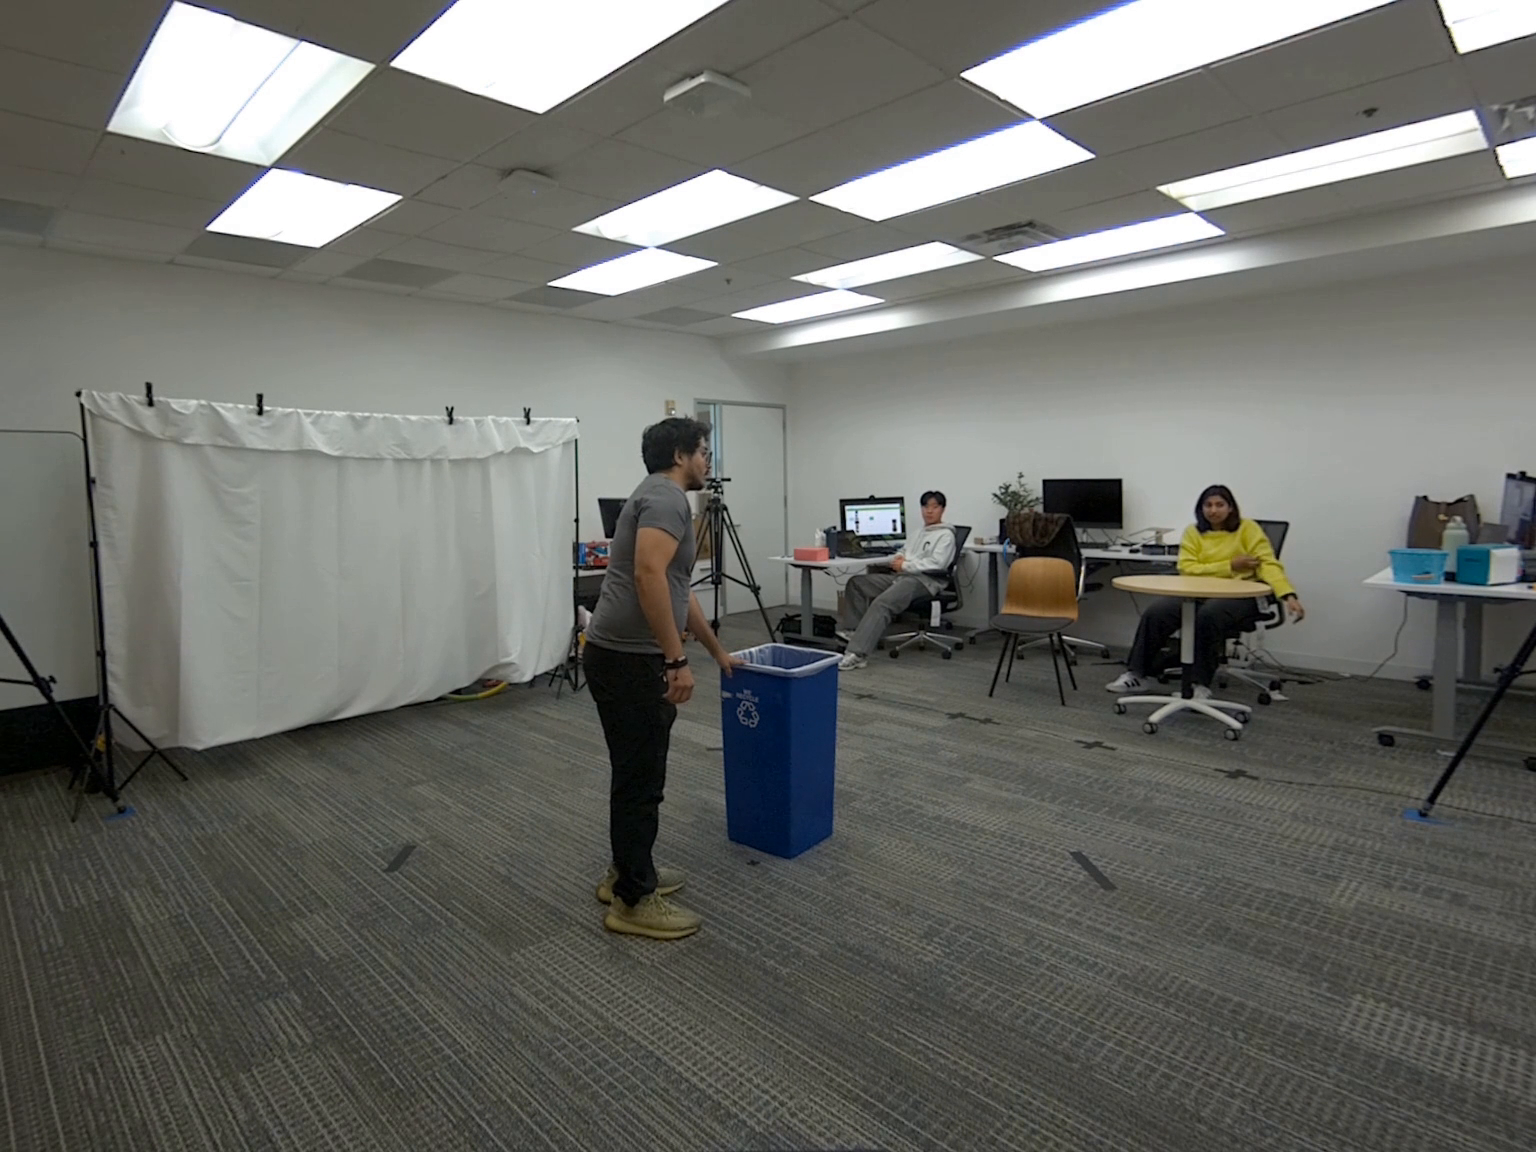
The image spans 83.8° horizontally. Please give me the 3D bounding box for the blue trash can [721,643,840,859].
[{"bbox_3d":[0.056,0.659,3.303,0.385,0.711,0.368,3,6,38],"label":"blue trash can"}]
